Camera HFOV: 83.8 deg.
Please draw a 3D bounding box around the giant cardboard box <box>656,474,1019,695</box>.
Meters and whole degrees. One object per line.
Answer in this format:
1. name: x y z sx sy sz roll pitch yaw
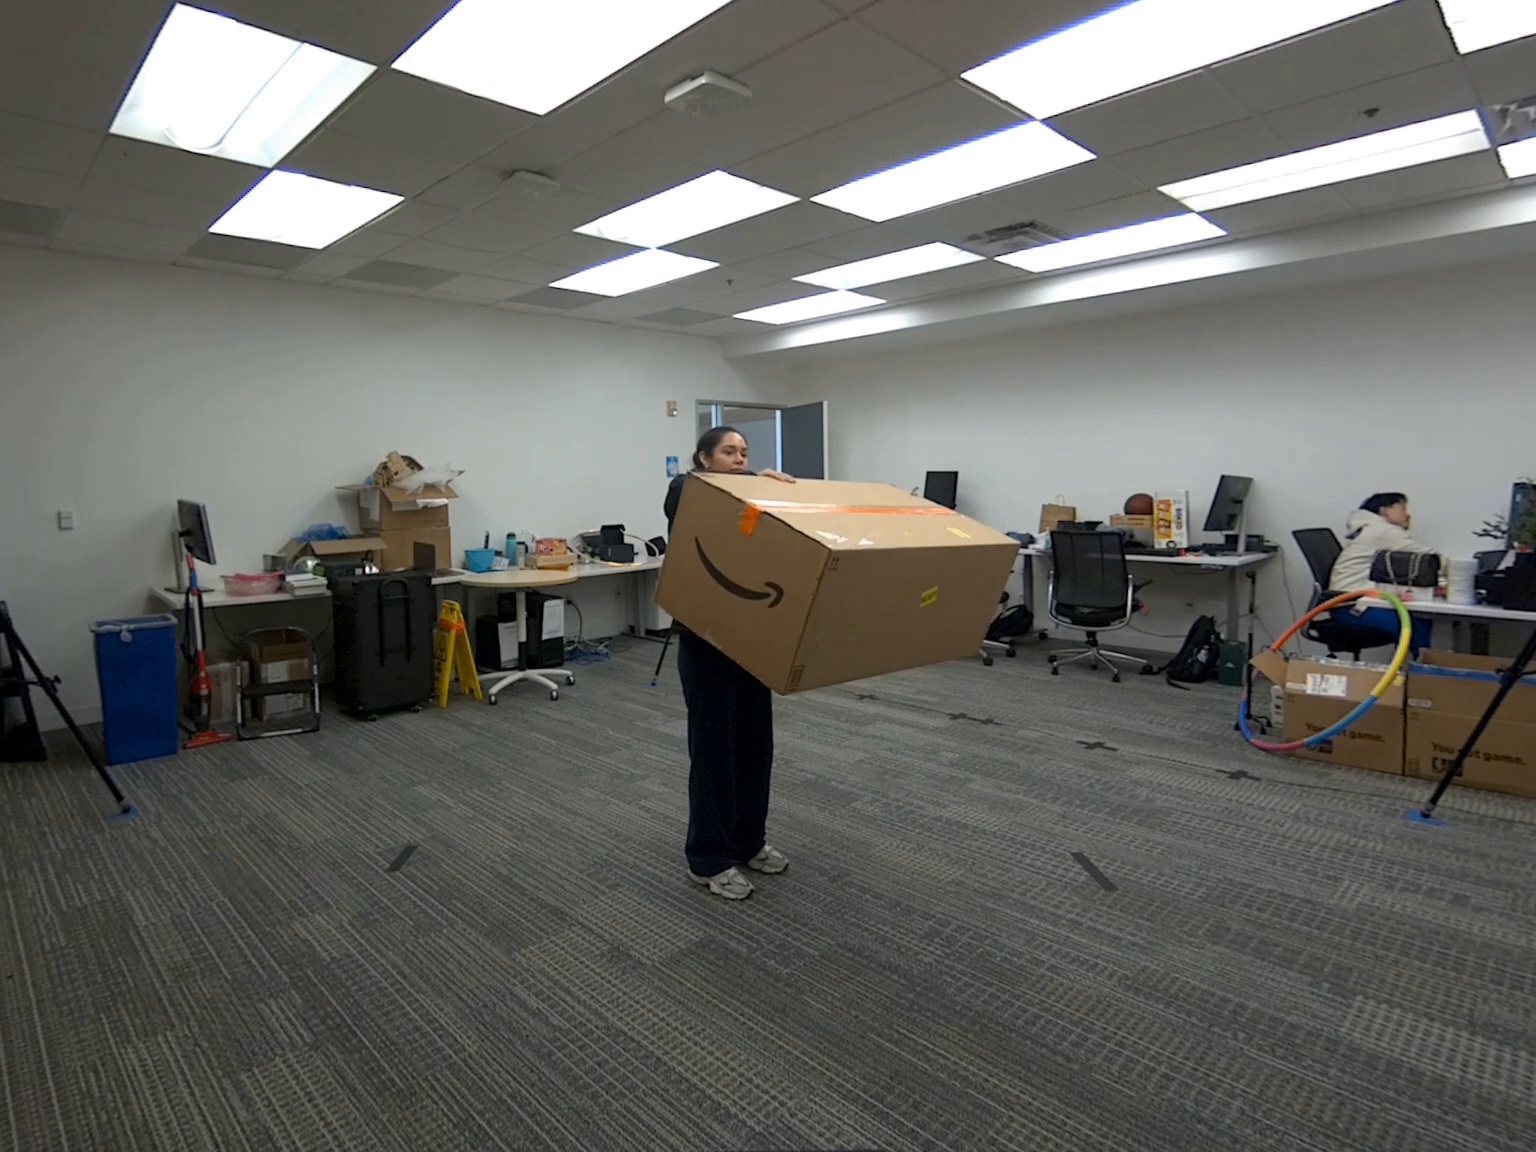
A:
1. giant cardboard box: 0.247 -0.029 2.725 0.997 0.422 0.600 -3 25 -46
